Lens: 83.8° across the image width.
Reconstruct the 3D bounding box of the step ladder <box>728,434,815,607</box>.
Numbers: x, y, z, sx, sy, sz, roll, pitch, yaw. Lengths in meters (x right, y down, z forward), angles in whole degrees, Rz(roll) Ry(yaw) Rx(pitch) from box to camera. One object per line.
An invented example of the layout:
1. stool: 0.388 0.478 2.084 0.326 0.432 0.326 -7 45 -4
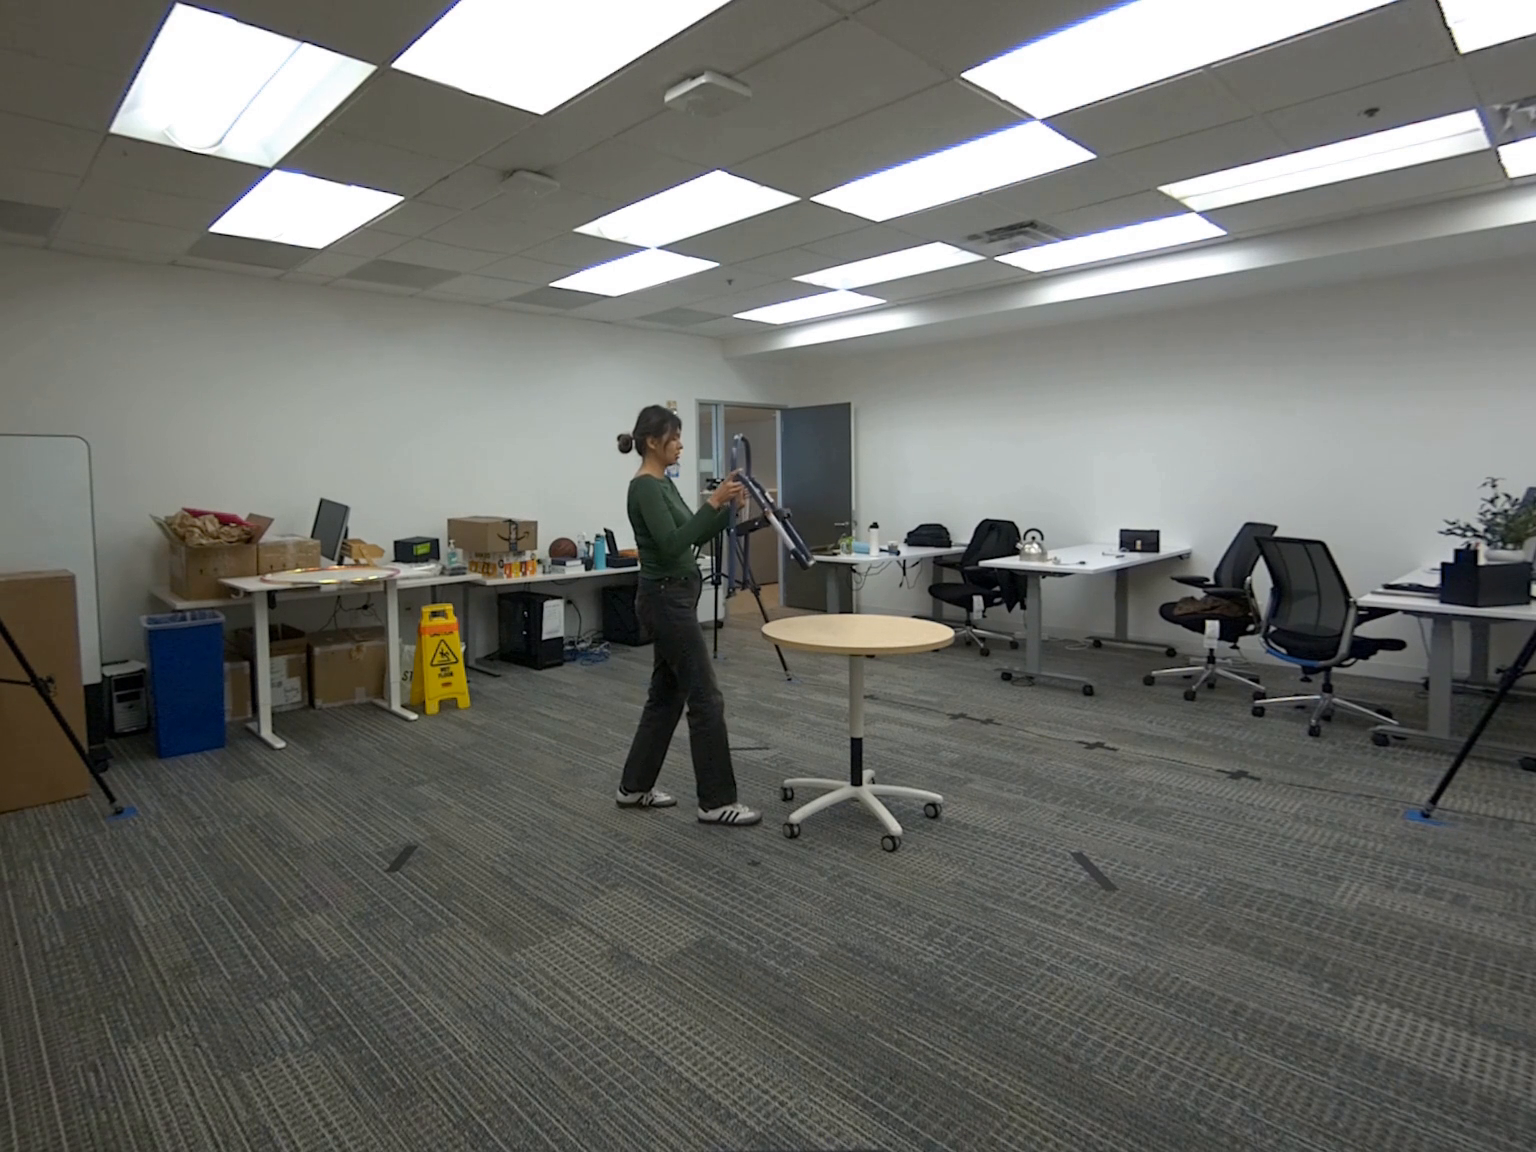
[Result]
1. step ladder: -0.076 -0.268 3.529 0.351 0.607 0.428 -19 -1 8
